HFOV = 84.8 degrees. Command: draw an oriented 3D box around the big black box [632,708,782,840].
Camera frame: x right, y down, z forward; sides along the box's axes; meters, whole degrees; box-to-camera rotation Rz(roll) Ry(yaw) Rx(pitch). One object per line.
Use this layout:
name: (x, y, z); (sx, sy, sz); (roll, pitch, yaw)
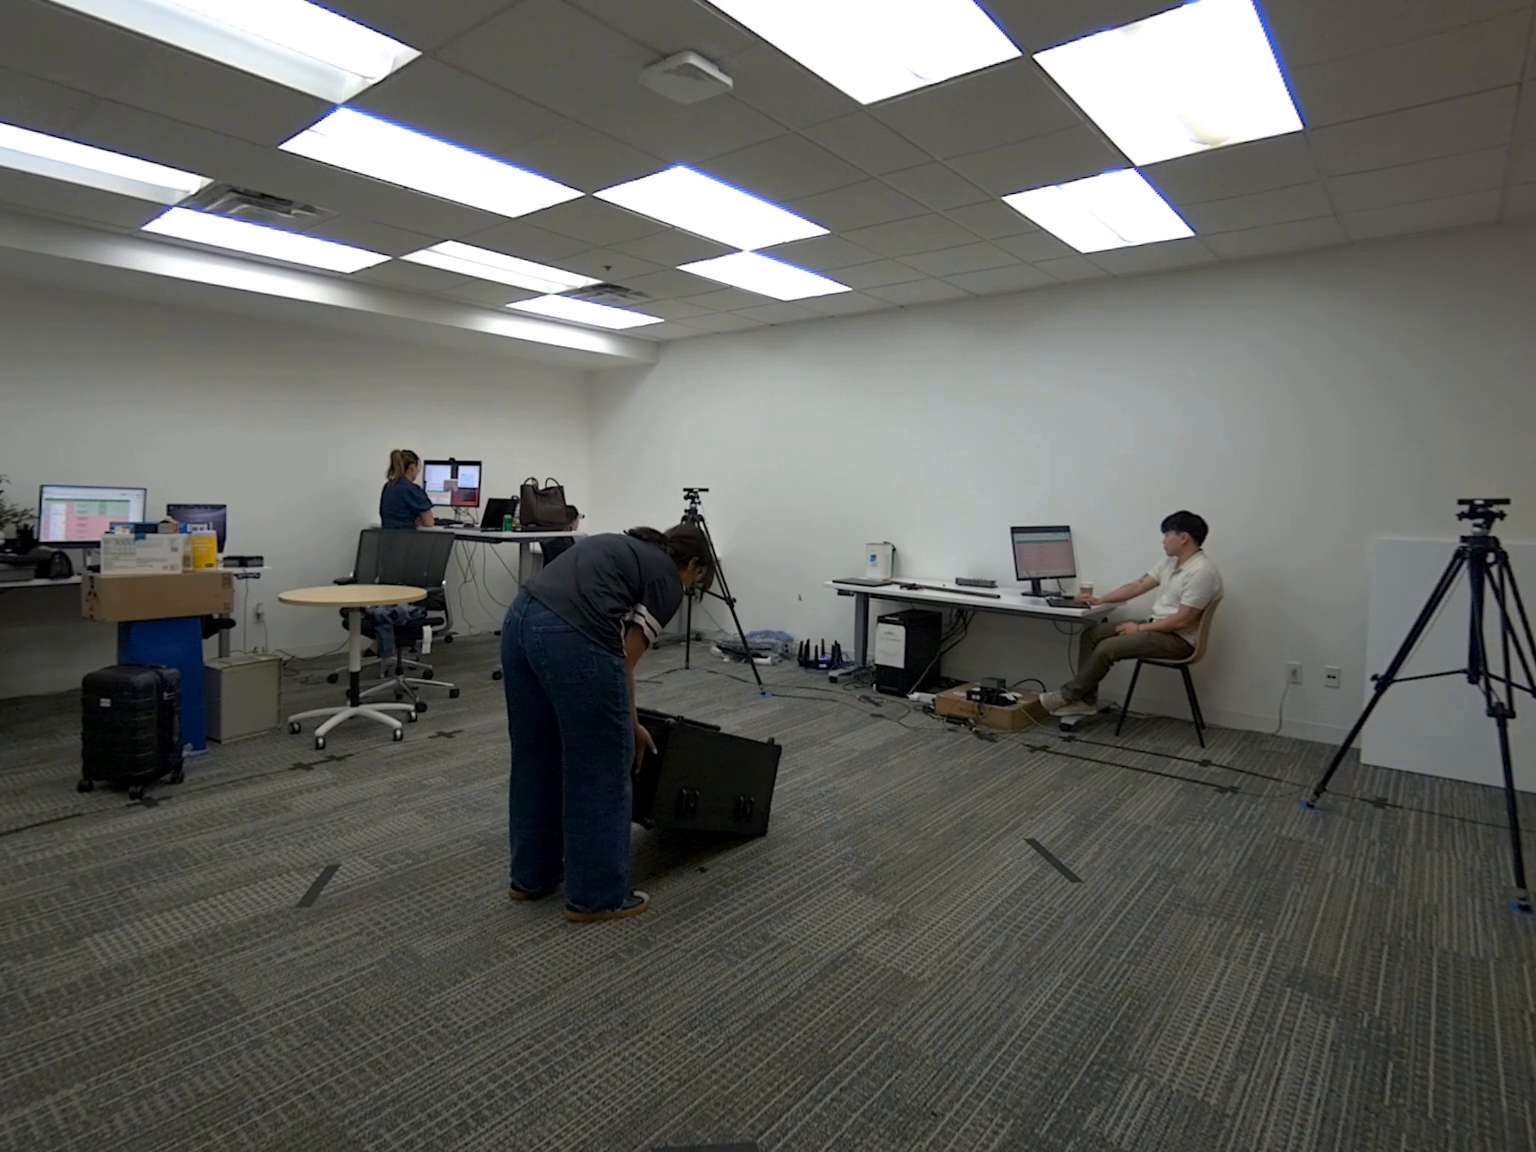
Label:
big black box: (-0.363, 0.755, 3.341); (0.539, 0.389, 0.834); (2, -15, 34)
